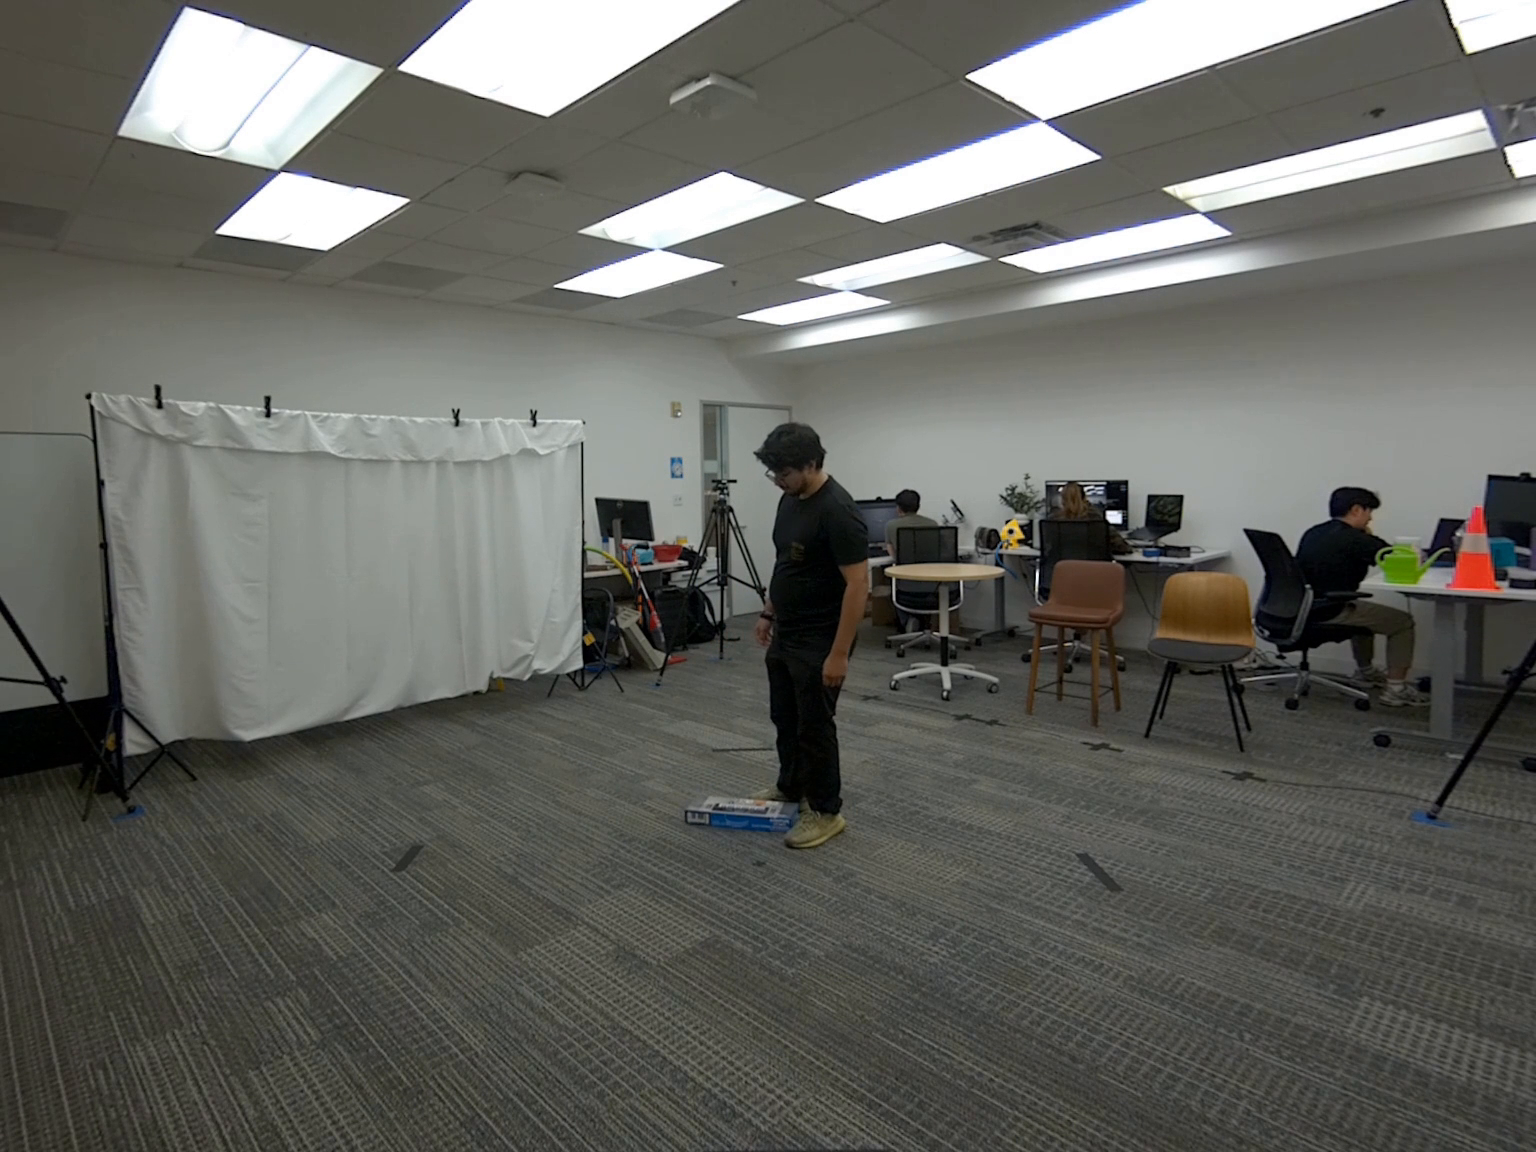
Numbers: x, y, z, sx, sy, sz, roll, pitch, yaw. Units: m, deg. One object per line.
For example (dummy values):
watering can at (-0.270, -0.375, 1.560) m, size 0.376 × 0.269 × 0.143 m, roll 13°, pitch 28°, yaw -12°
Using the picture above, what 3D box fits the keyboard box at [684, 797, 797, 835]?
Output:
keyboard box at (-0.110, 0.977, 3.511) m, size 0.443 × 0.059 × 0.174 m, roll 1°, pitch 6°, yaw 15°
